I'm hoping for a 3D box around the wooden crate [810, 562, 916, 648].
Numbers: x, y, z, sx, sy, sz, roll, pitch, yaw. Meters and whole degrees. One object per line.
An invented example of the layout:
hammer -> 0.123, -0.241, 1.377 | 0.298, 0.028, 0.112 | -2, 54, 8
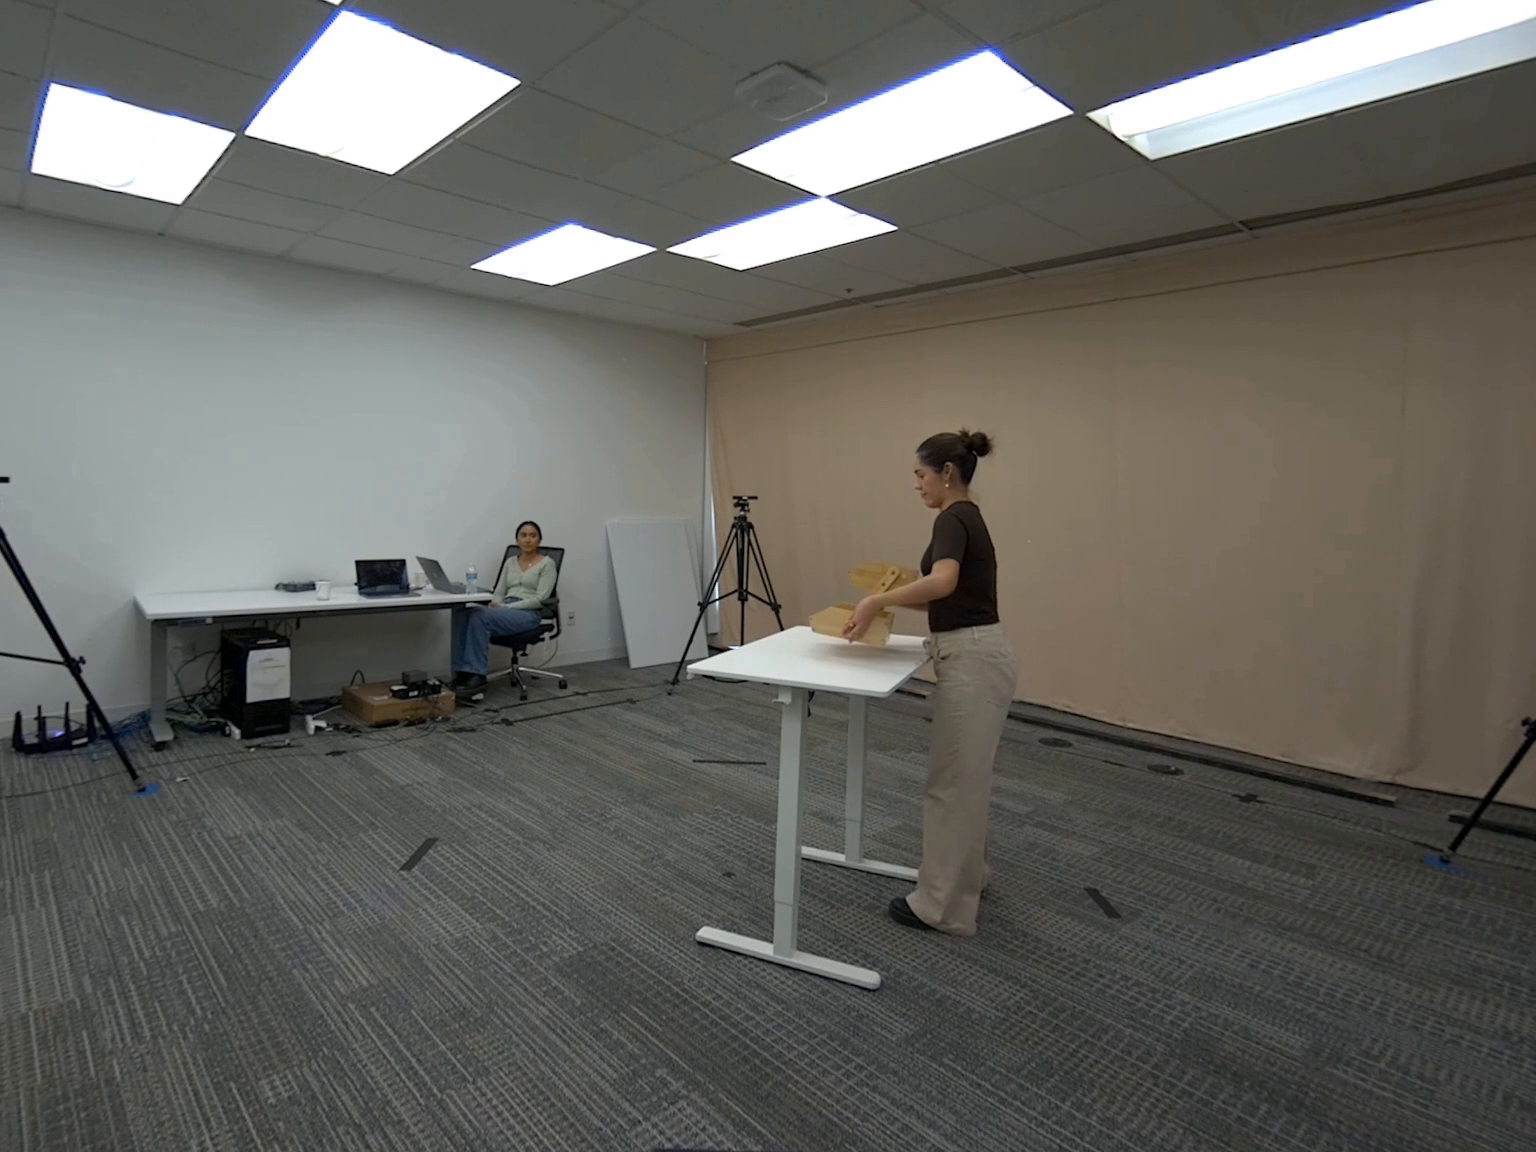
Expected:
wooden crate -> 0.334, 0.076, 2.816 | 0.305, 0.273, 0.321 | 12, 3, 11
